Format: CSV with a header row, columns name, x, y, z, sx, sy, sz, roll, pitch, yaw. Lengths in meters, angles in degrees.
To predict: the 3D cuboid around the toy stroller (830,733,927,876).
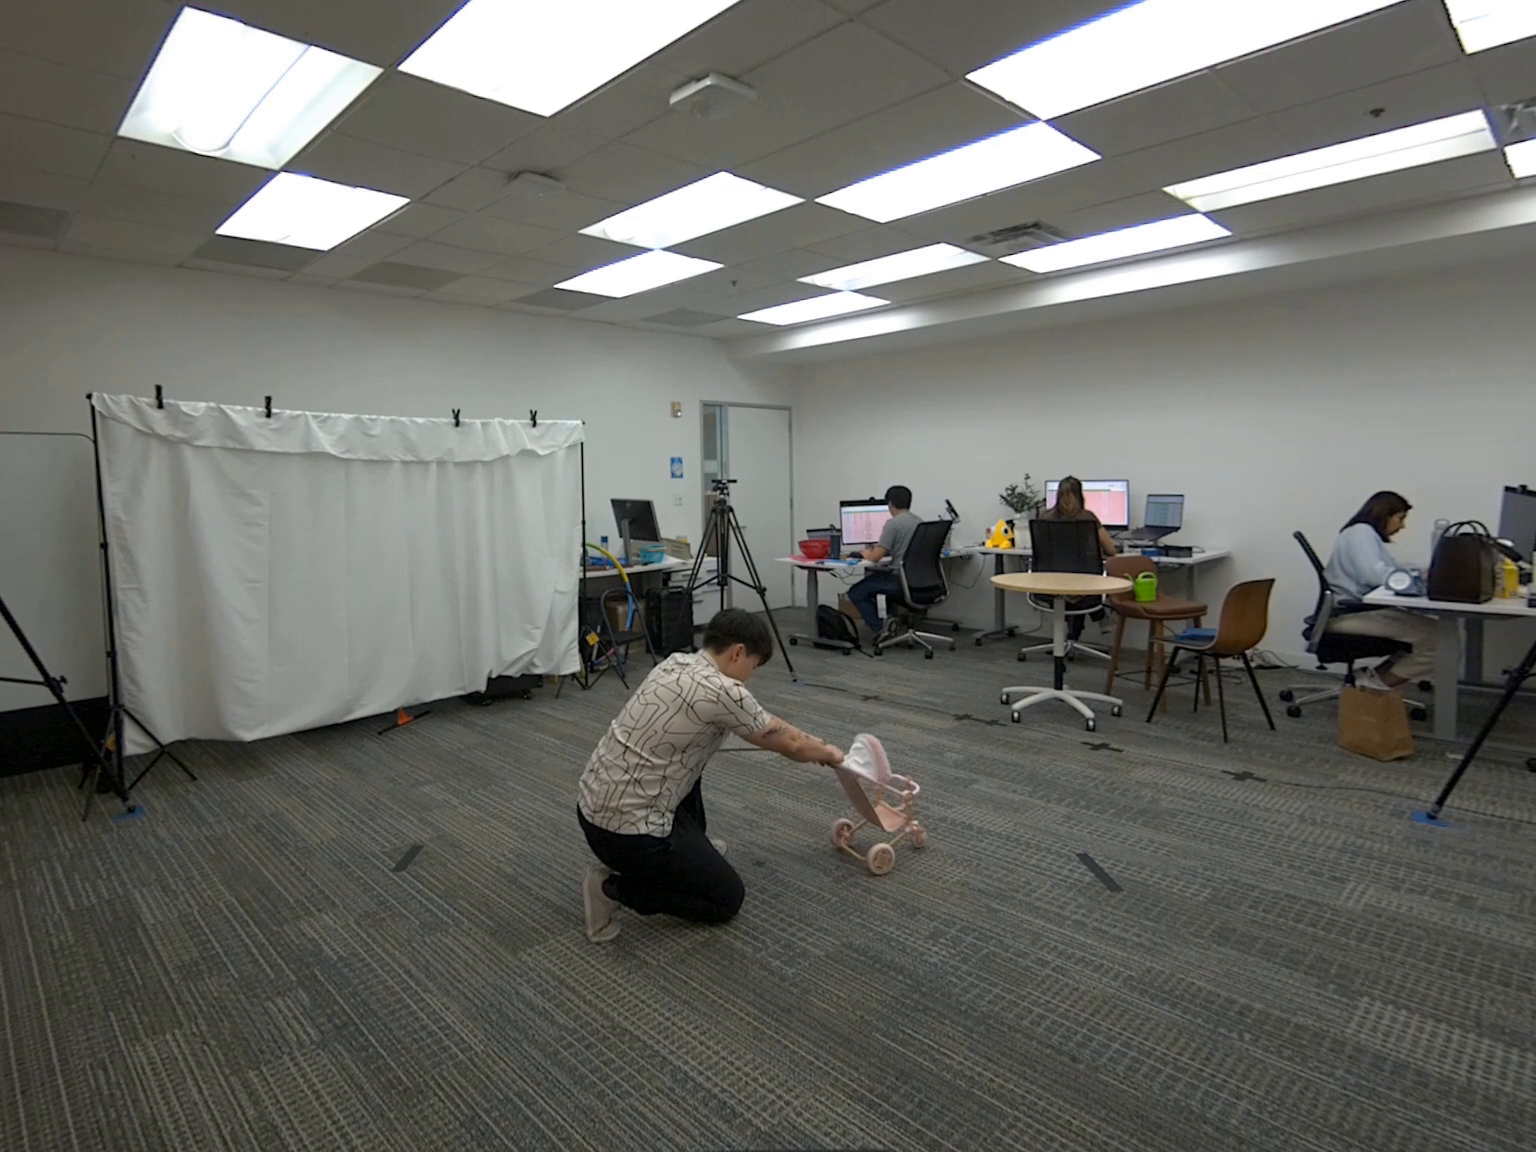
name,x,y,z,sx,sy,sz,roll,pitch,yaw
toy stroller,0.387,0.810,3.133,0.337,0.529,0.287,-21,10,-20
